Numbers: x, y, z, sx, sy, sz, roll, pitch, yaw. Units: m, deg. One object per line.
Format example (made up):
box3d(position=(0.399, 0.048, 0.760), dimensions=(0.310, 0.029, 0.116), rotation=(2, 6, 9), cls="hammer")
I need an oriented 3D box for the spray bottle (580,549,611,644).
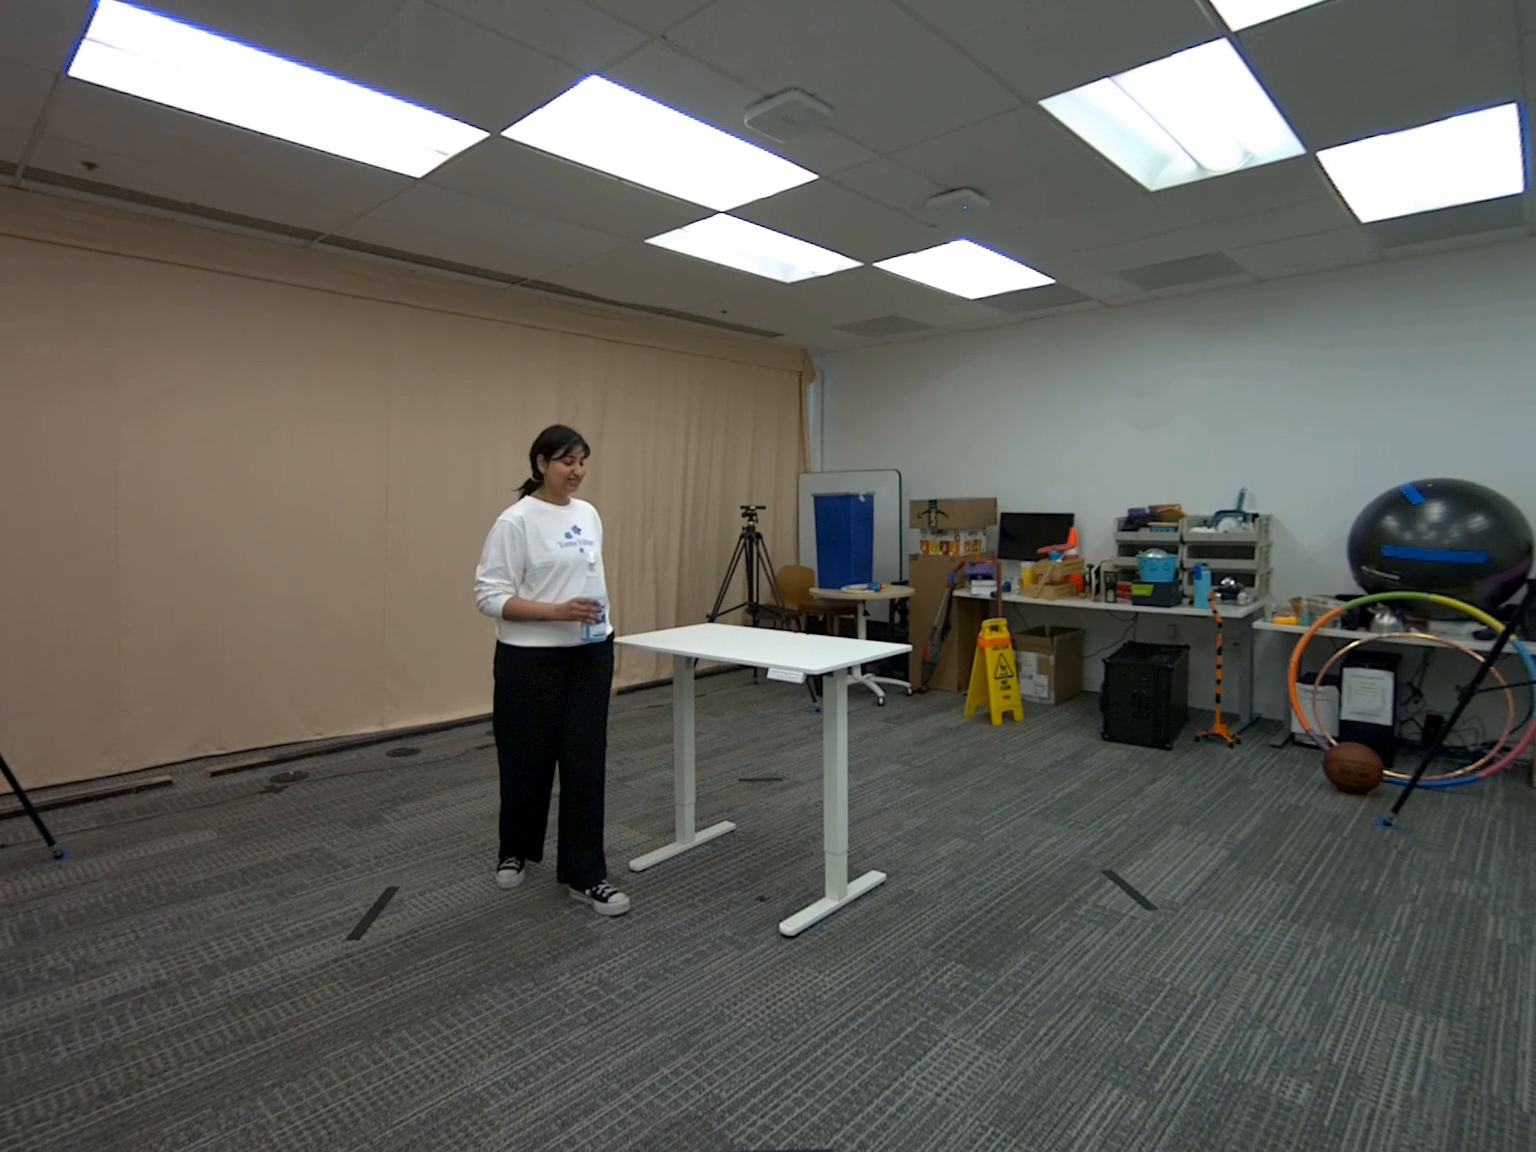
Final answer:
box3d(position=(-0.584, 0.071, 2.816), dimensions=(0.088, 0.297, 0.088), rotation=(-1, 3, 16), cls="spray bottle")
